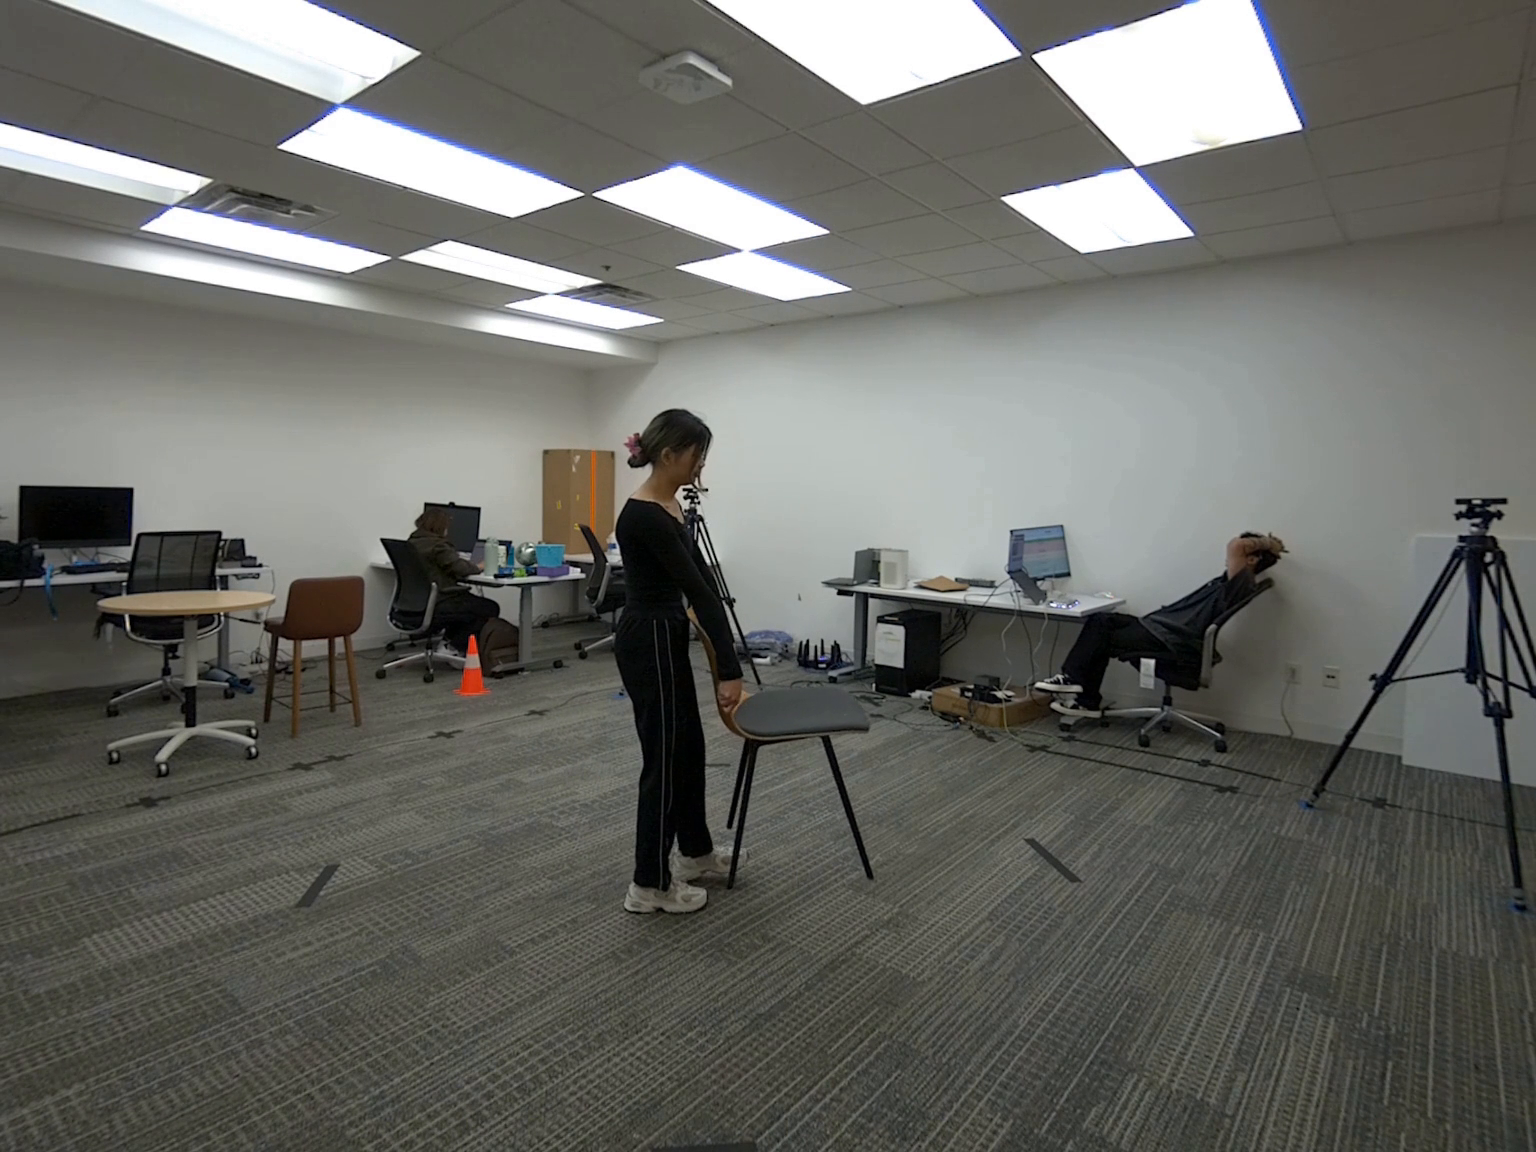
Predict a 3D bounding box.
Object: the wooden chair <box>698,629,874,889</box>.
[{"bbox_3d":[0.058,0.506,2.812,0.523,0.873,0.480,-9,5,0],"label":"wooden chair"}]
